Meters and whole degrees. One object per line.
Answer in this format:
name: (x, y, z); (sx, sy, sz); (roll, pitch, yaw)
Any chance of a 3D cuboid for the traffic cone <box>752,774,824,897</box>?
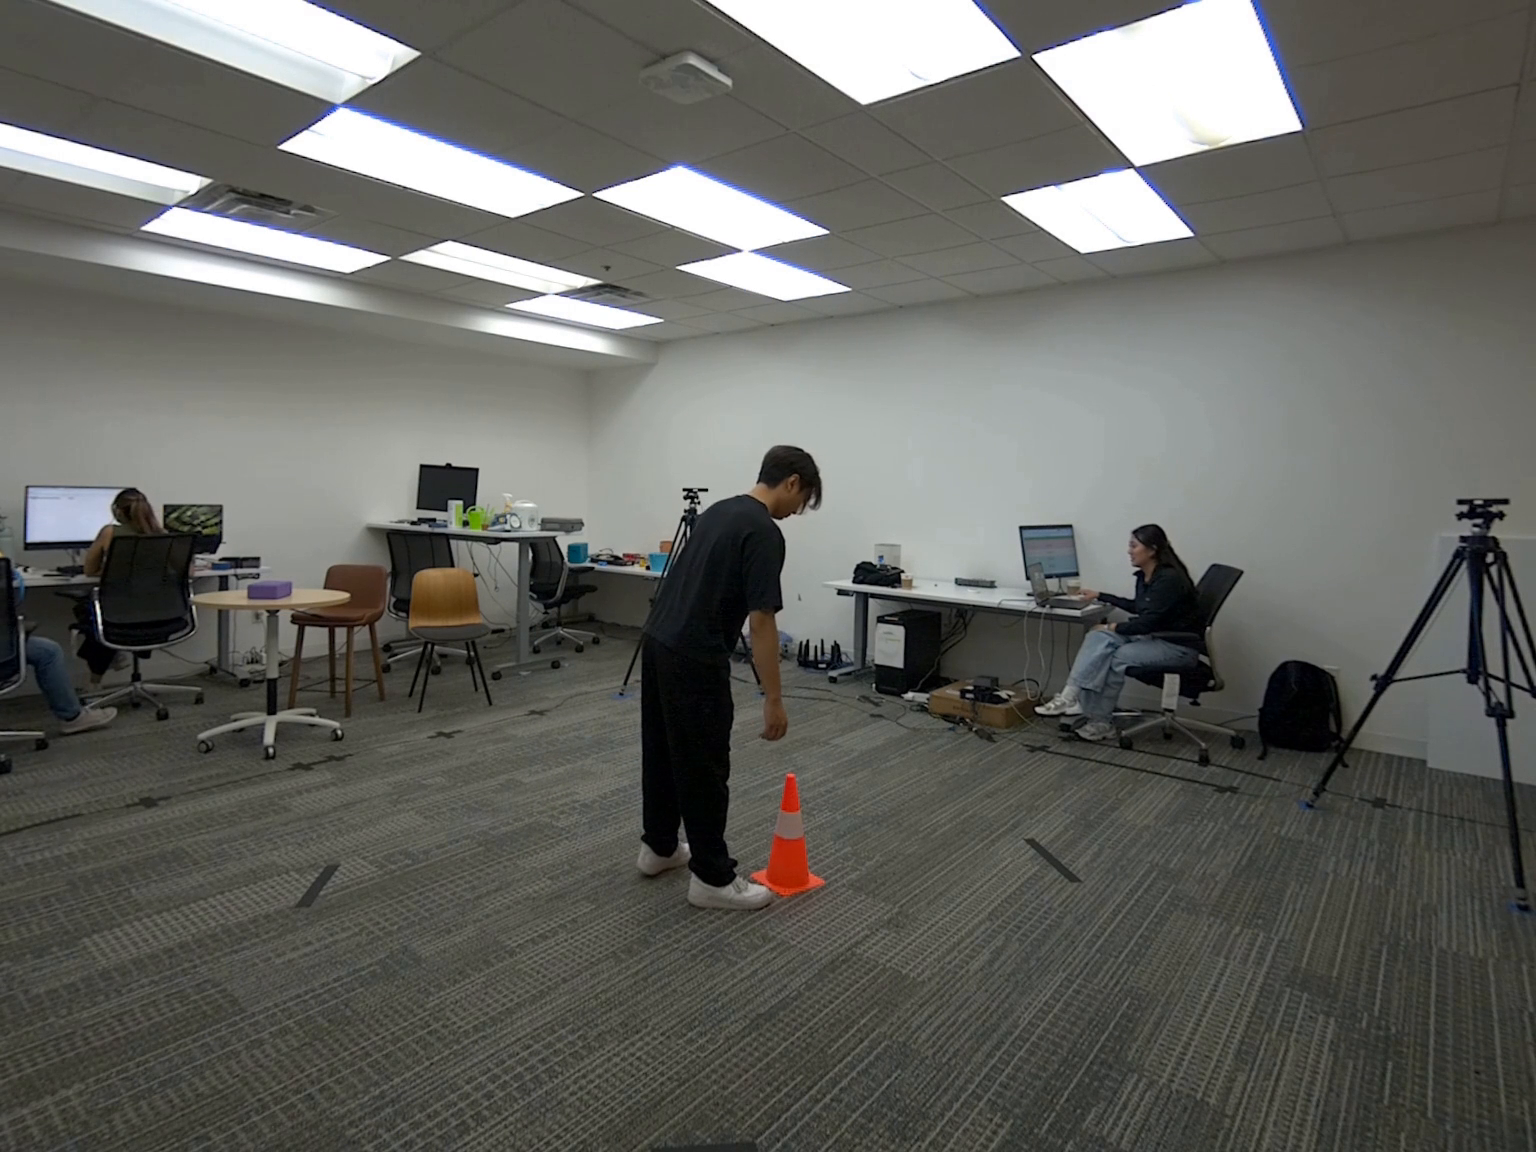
traffic cone: (0.069, 0.905, 3.027); (0.197, 0.381, 0.212); (-3, 7, -36)
